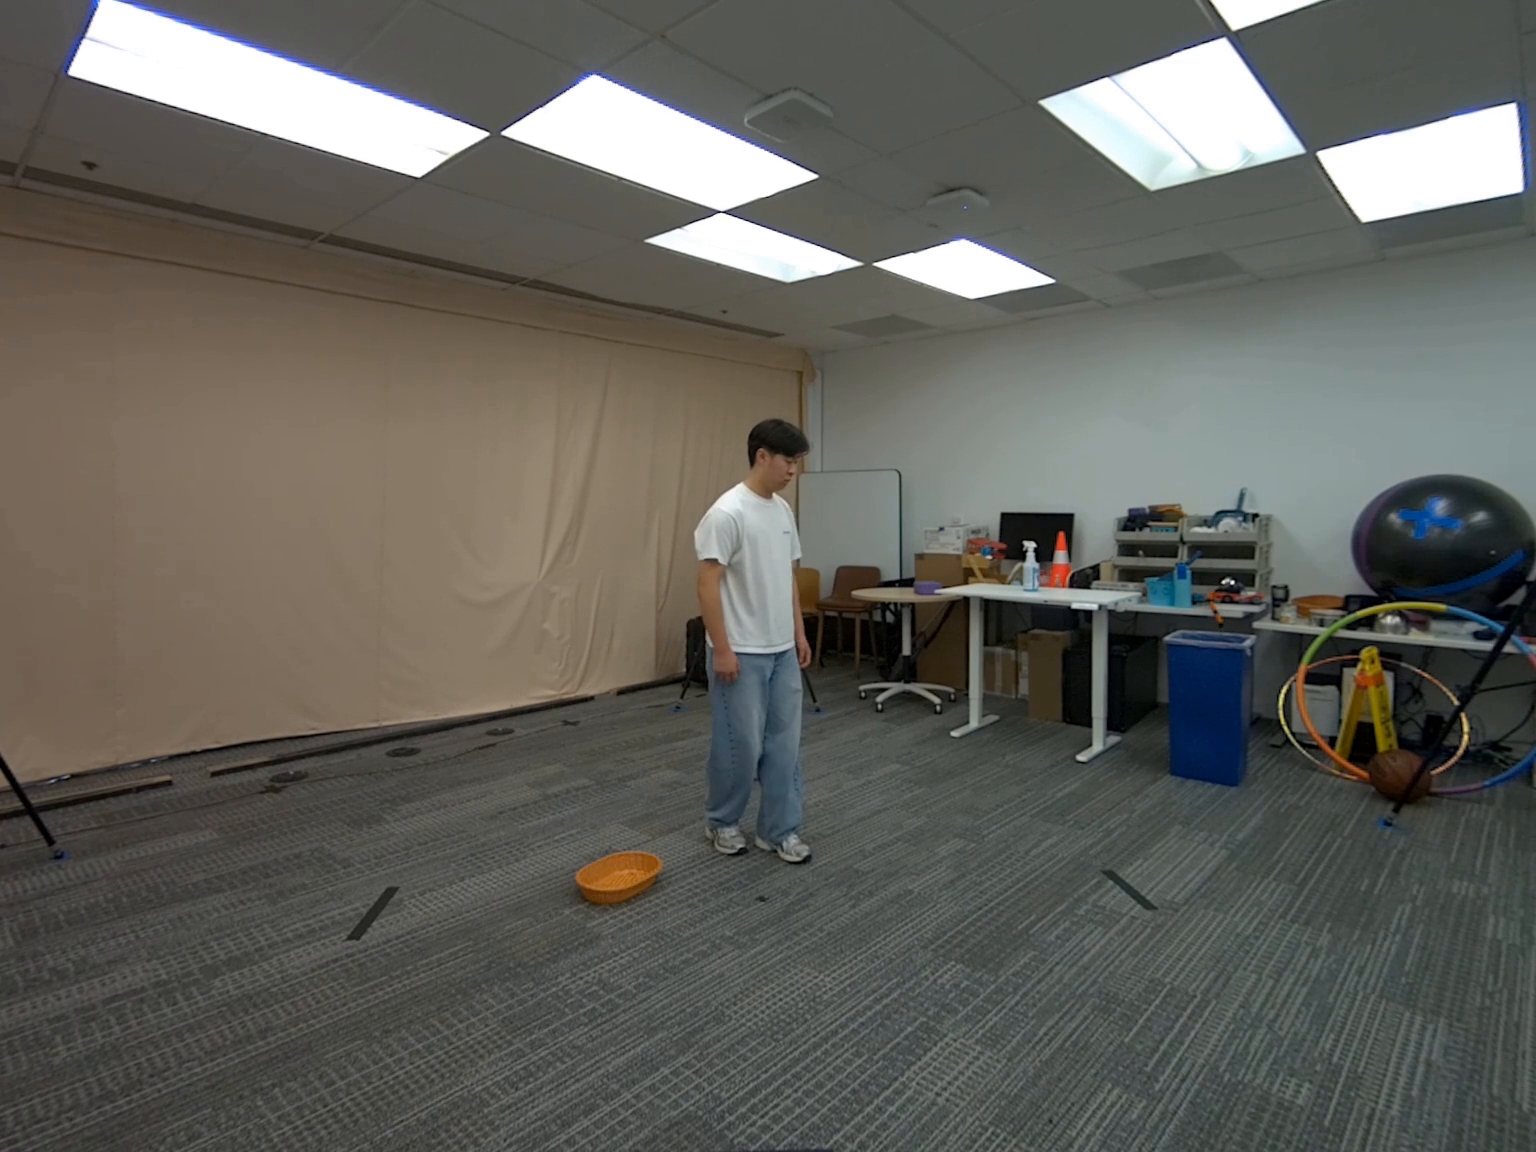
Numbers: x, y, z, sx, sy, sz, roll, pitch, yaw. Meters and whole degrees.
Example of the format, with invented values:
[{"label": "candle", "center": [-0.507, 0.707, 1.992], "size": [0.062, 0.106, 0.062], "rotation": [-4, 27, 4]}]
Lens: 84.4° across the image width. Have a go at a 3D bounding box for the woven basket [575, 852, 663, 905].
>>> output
[{"label": "woven basket", "center": [-0.538, 1.104, 3.066], "size": [0.260, 0.073, 0.340], "rotation": [3, 6, 37]}]
